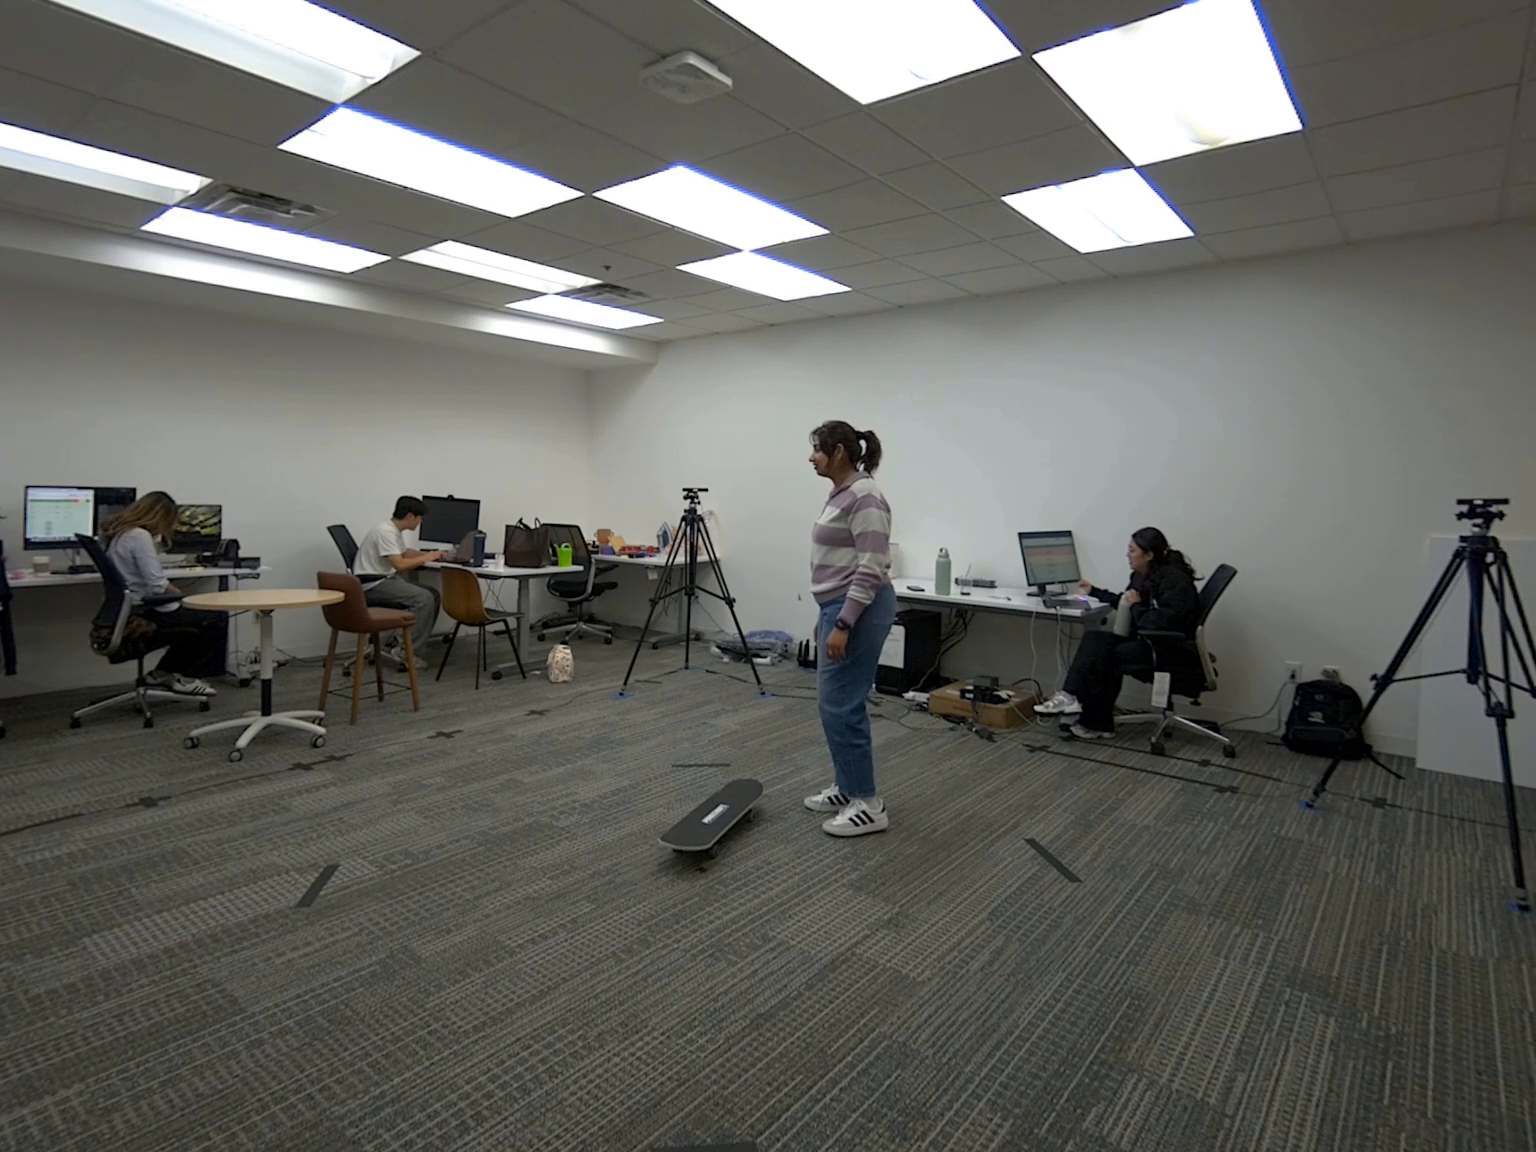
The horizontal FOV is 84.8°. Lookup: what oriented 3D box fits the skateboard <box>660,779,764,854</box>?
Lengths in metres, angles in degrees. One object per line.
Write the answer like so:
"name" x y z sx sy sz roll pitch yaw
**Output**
"skateboard" -0.215 0.982 3.418 0.198 0.110 0.771 3 6 20
